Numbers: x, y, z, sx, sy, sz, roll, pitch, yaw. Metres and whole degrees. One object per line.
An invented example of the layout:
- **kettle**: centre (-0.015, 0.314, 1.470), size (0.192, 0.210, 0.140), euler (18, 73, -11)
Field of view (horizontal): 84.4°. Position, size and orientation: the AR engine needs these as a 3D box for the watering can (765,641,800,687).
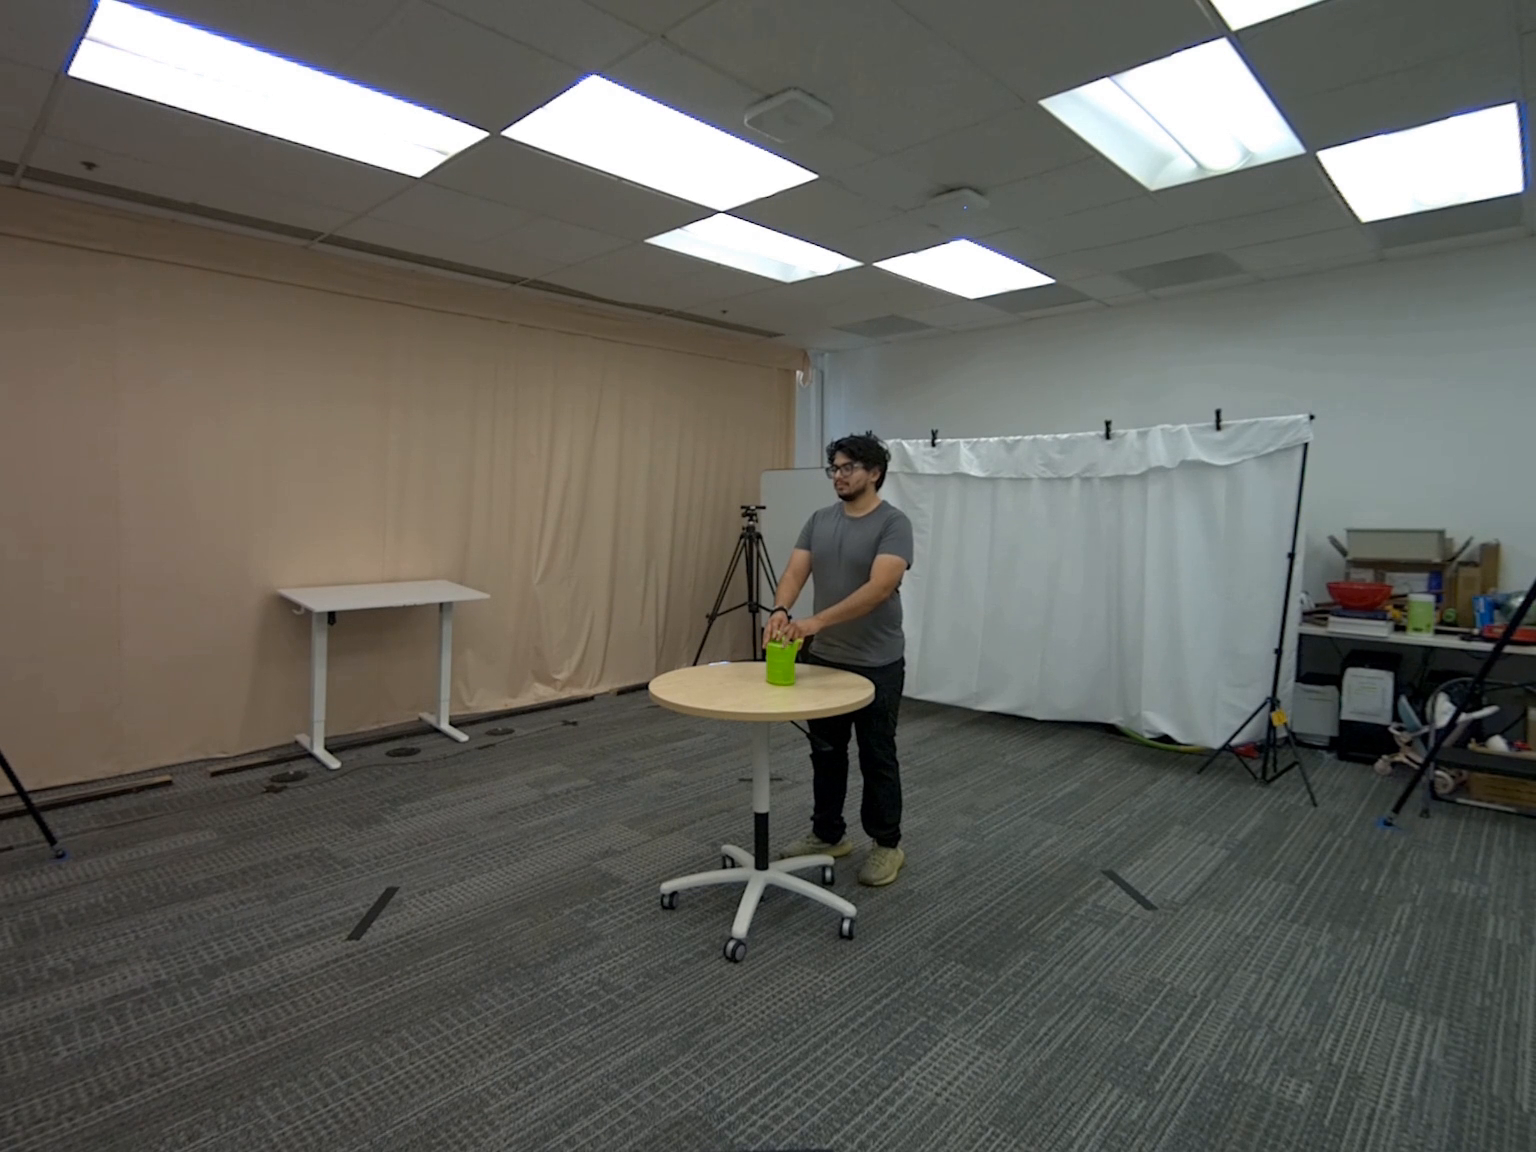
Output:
- **watering can**: centre (0.051, 0.284, 2.860), size (0.097, 0.176, 0.280), euler (0, 3, -8)
